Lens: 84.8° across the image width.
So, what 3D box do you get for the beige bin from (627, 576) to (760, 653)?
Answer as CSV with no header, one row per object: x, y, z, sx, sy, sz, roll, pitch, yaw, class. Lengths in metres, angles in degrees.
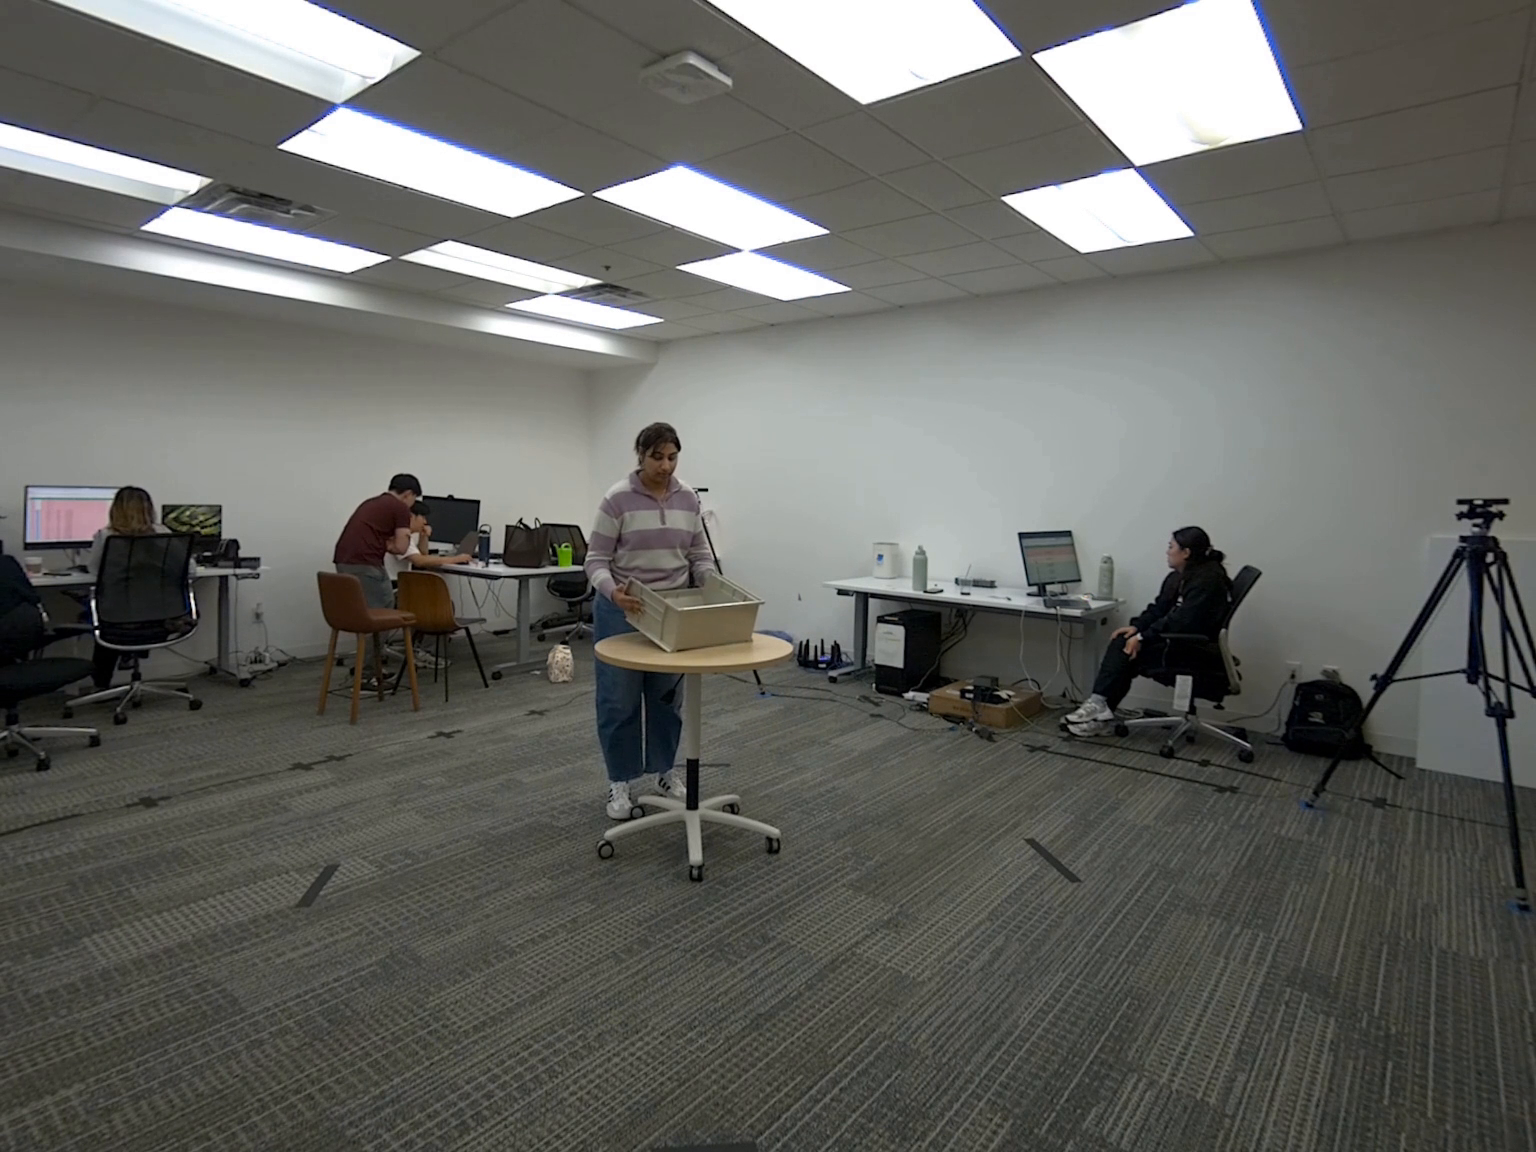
-0.310,0.133,3.369,0.410,0.187,0.393,-2,22,-39,beige bin
